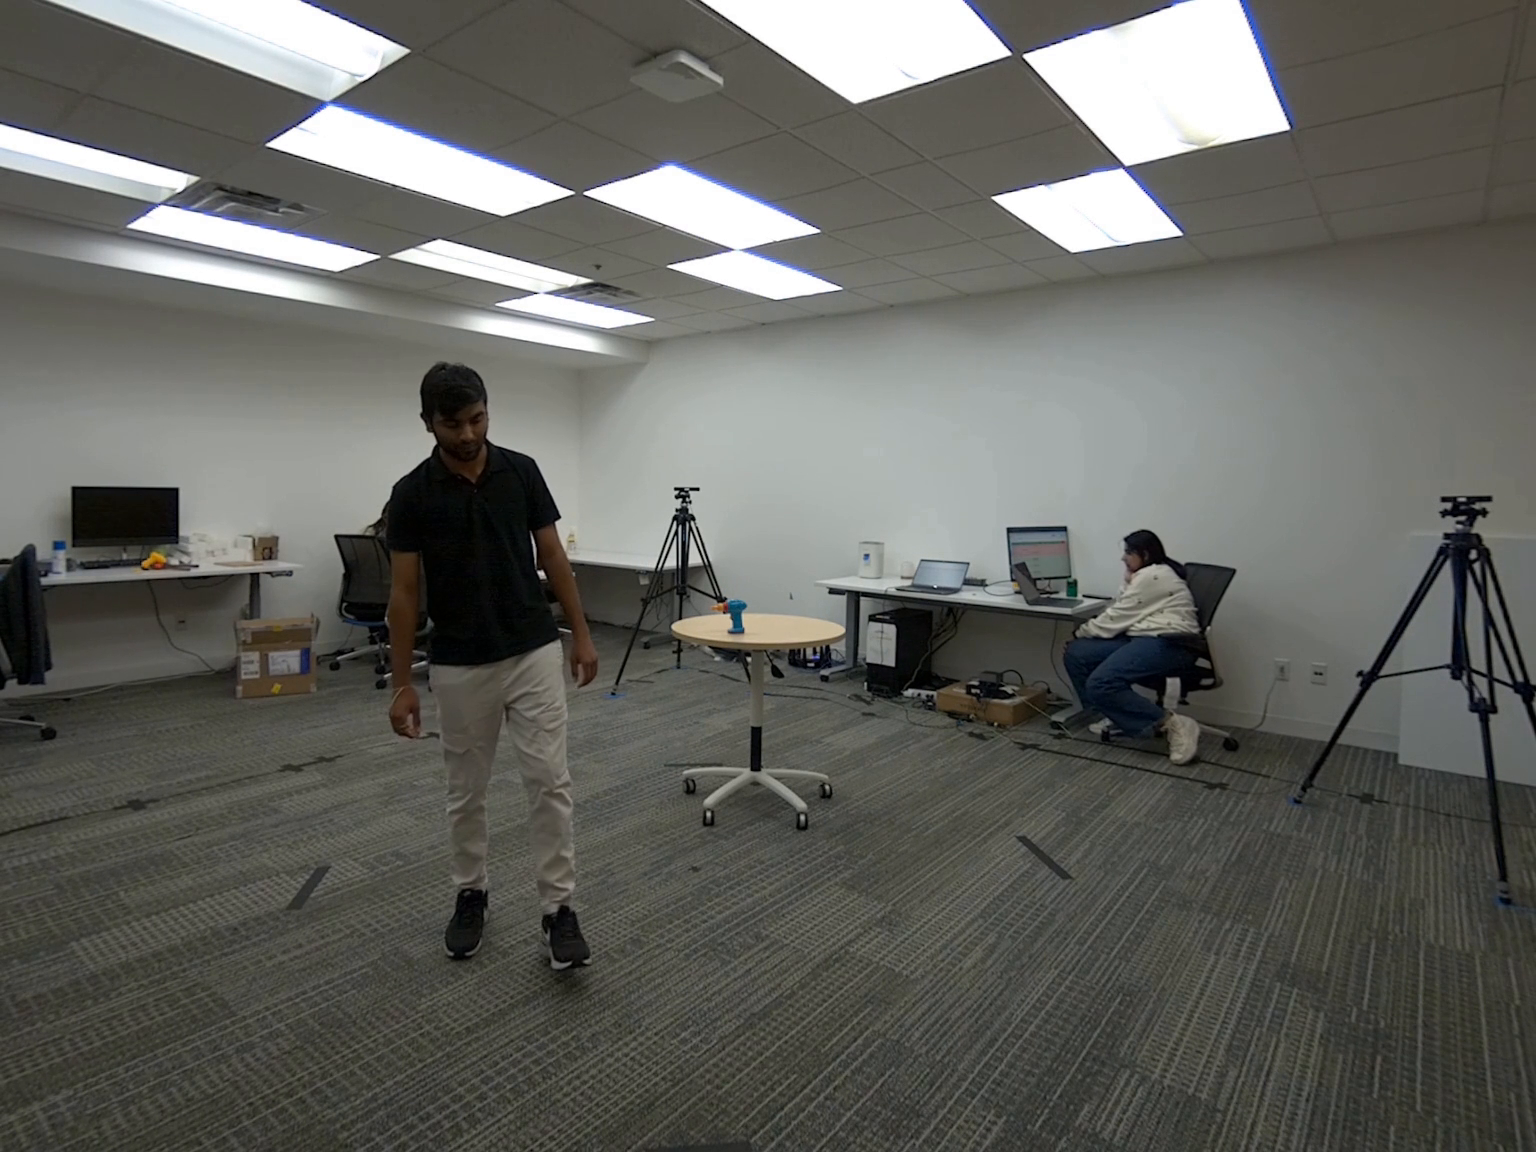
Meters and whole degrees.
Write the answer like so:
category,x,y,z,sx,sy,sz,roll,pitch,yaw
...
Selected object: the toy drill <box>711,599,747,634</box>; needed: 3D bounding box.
category,x,y,z,sx,sy,sz,roll,pitch,yaw
toy drill,-0.180,0.166,3.589,0.166,0.145,0.063,-1,4,-24
